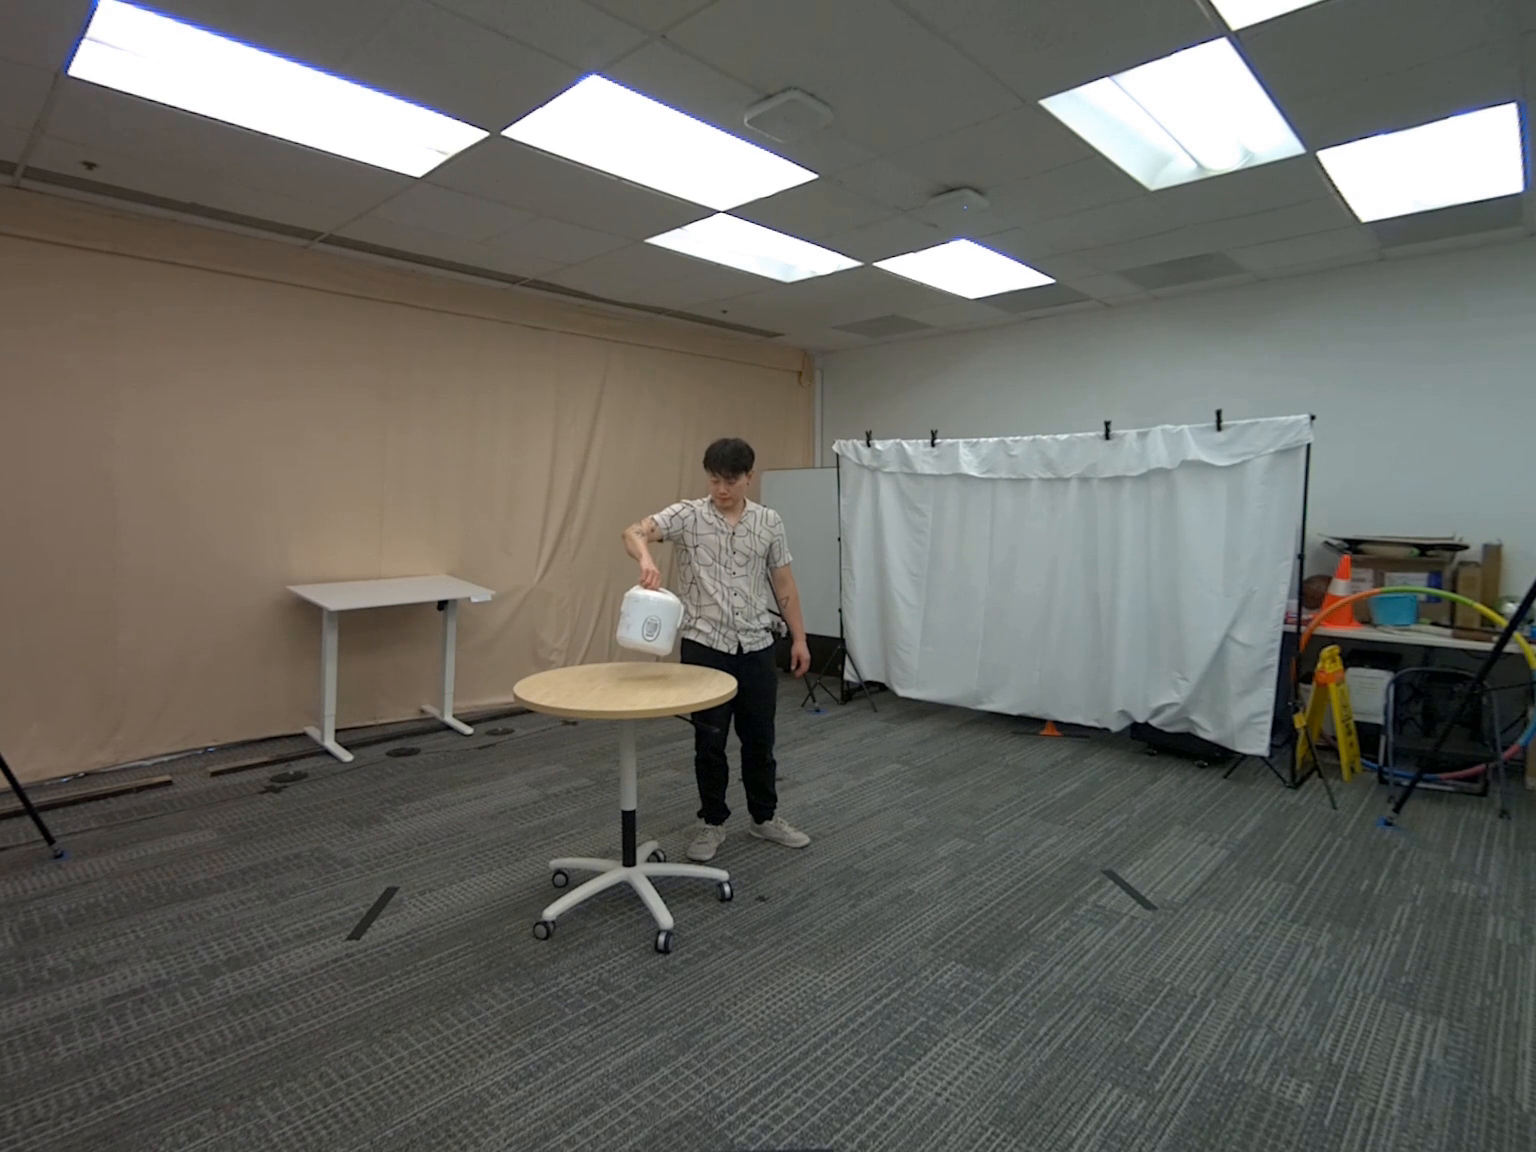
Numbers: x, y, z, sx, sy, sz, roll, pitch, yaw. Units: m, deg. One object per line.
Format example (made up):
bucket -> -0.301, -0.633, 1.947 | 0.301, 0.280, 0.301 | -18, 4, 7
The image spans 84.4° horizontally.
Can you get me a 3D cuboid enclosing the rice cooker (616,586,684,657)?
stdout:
rice cooker -> -0.413, 0.147, 2.967 | 0.218, 0.233, 0.219 | 13, -9, -11
